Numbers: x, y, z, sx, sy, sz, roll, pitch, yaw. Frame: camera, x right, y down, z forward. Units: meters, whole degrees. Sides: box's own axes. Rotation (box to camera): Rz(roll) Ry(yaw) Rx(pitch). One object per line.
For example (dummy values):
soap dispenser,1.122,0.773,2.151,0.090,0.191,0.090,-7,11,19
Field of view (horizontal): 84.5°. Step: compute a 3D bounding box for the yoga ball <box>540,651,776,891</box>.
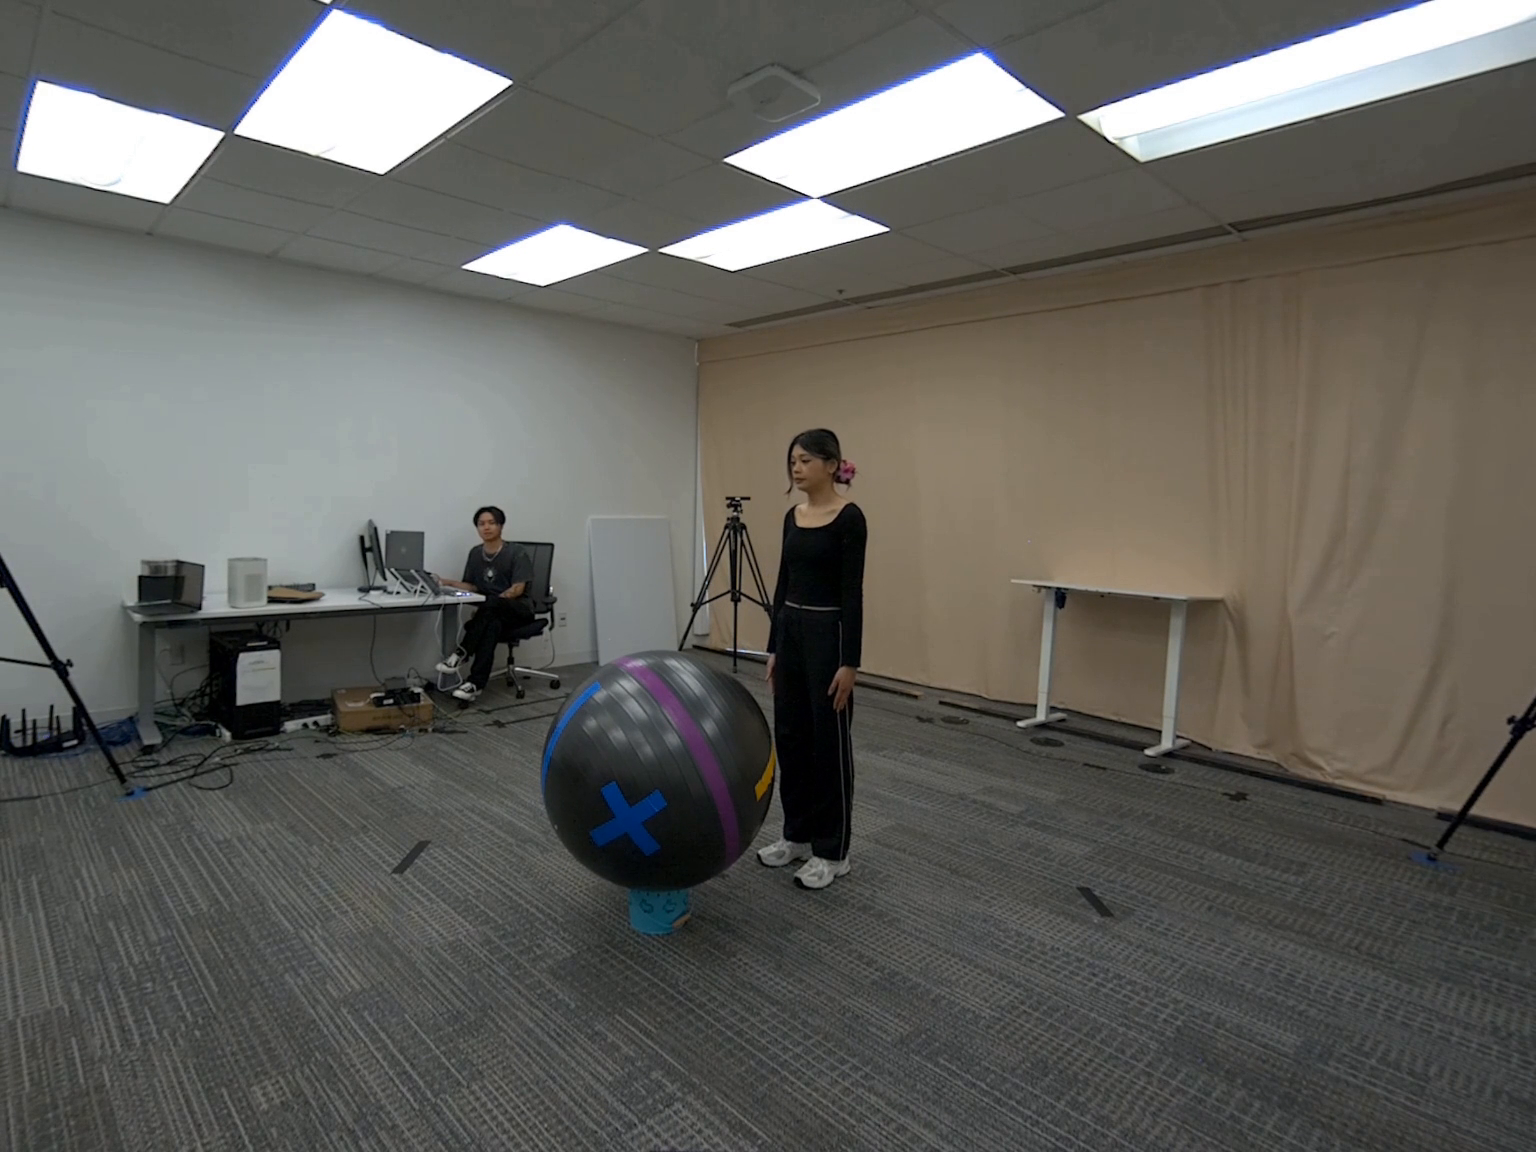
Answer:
yoga ball,-0.355,0.630,2.737,0.757,0.756,0.761,1,4,-1
